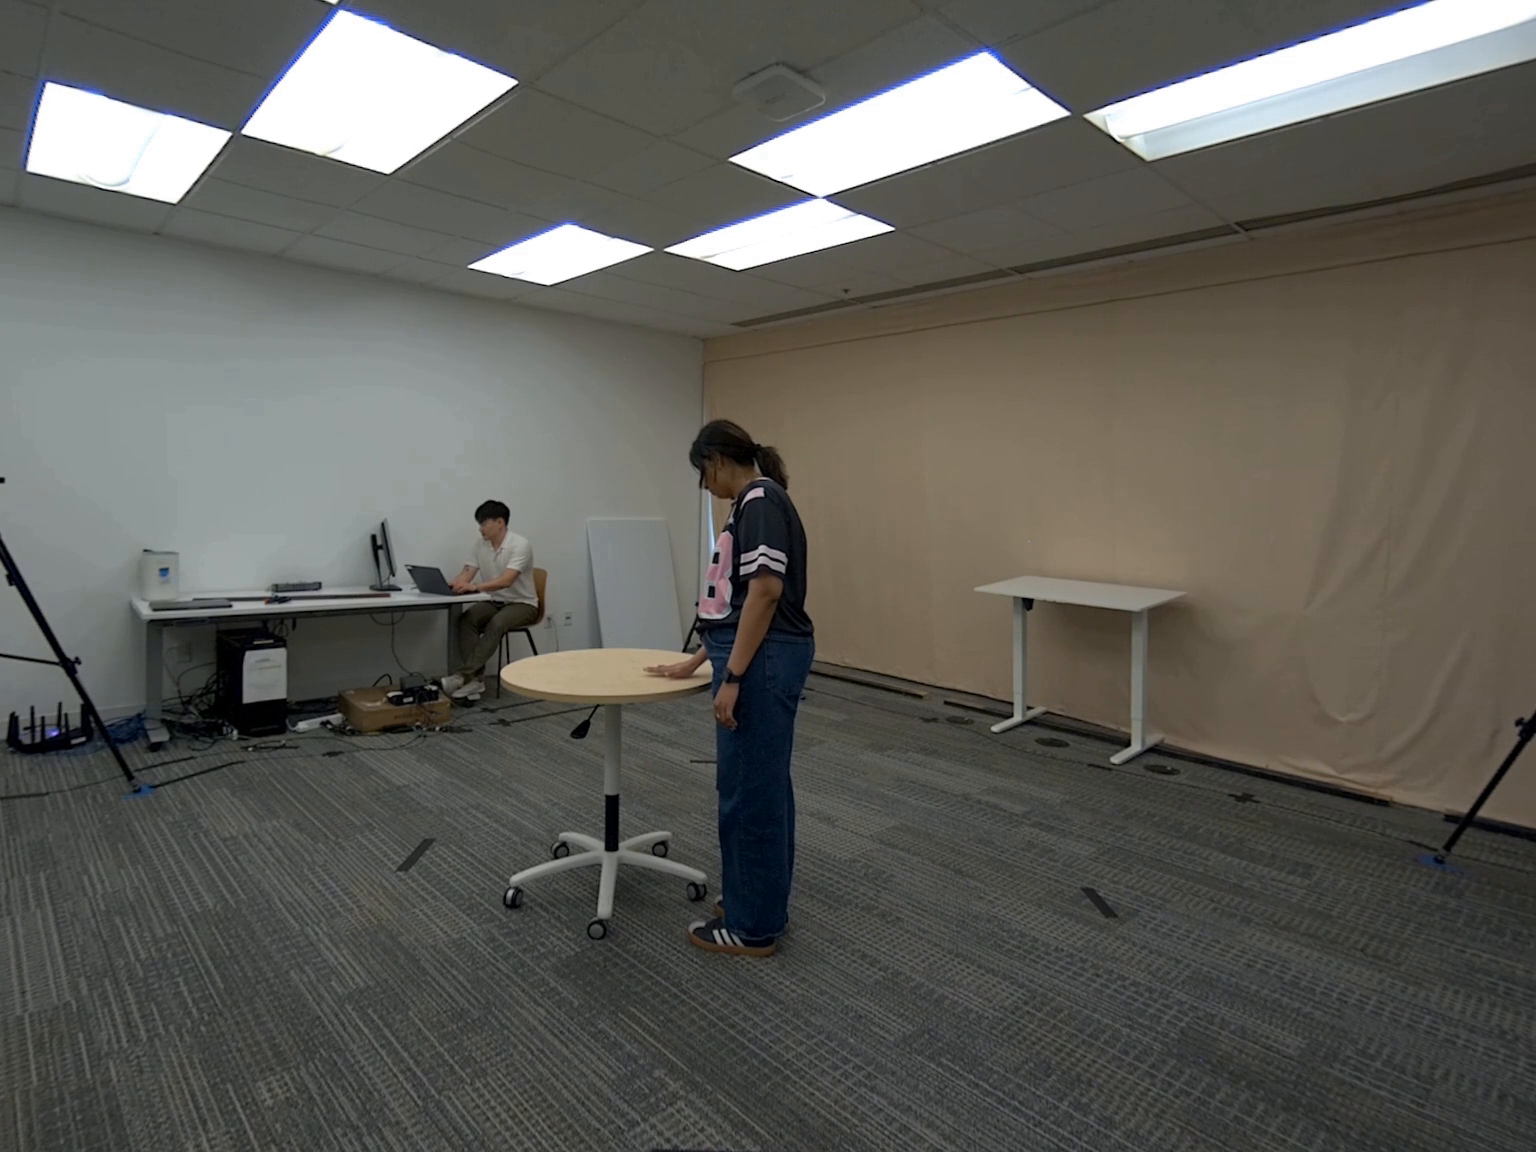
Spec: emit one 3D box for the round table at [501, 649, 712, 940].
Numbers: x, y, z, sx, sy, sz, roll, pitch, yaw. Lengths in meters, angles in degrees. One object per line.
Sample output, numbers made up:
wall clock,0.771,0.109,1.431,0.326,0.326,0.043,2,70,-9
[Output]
round table,-0.561,0.718,2.949,0.784,0.784,0.788,1,4,-1
